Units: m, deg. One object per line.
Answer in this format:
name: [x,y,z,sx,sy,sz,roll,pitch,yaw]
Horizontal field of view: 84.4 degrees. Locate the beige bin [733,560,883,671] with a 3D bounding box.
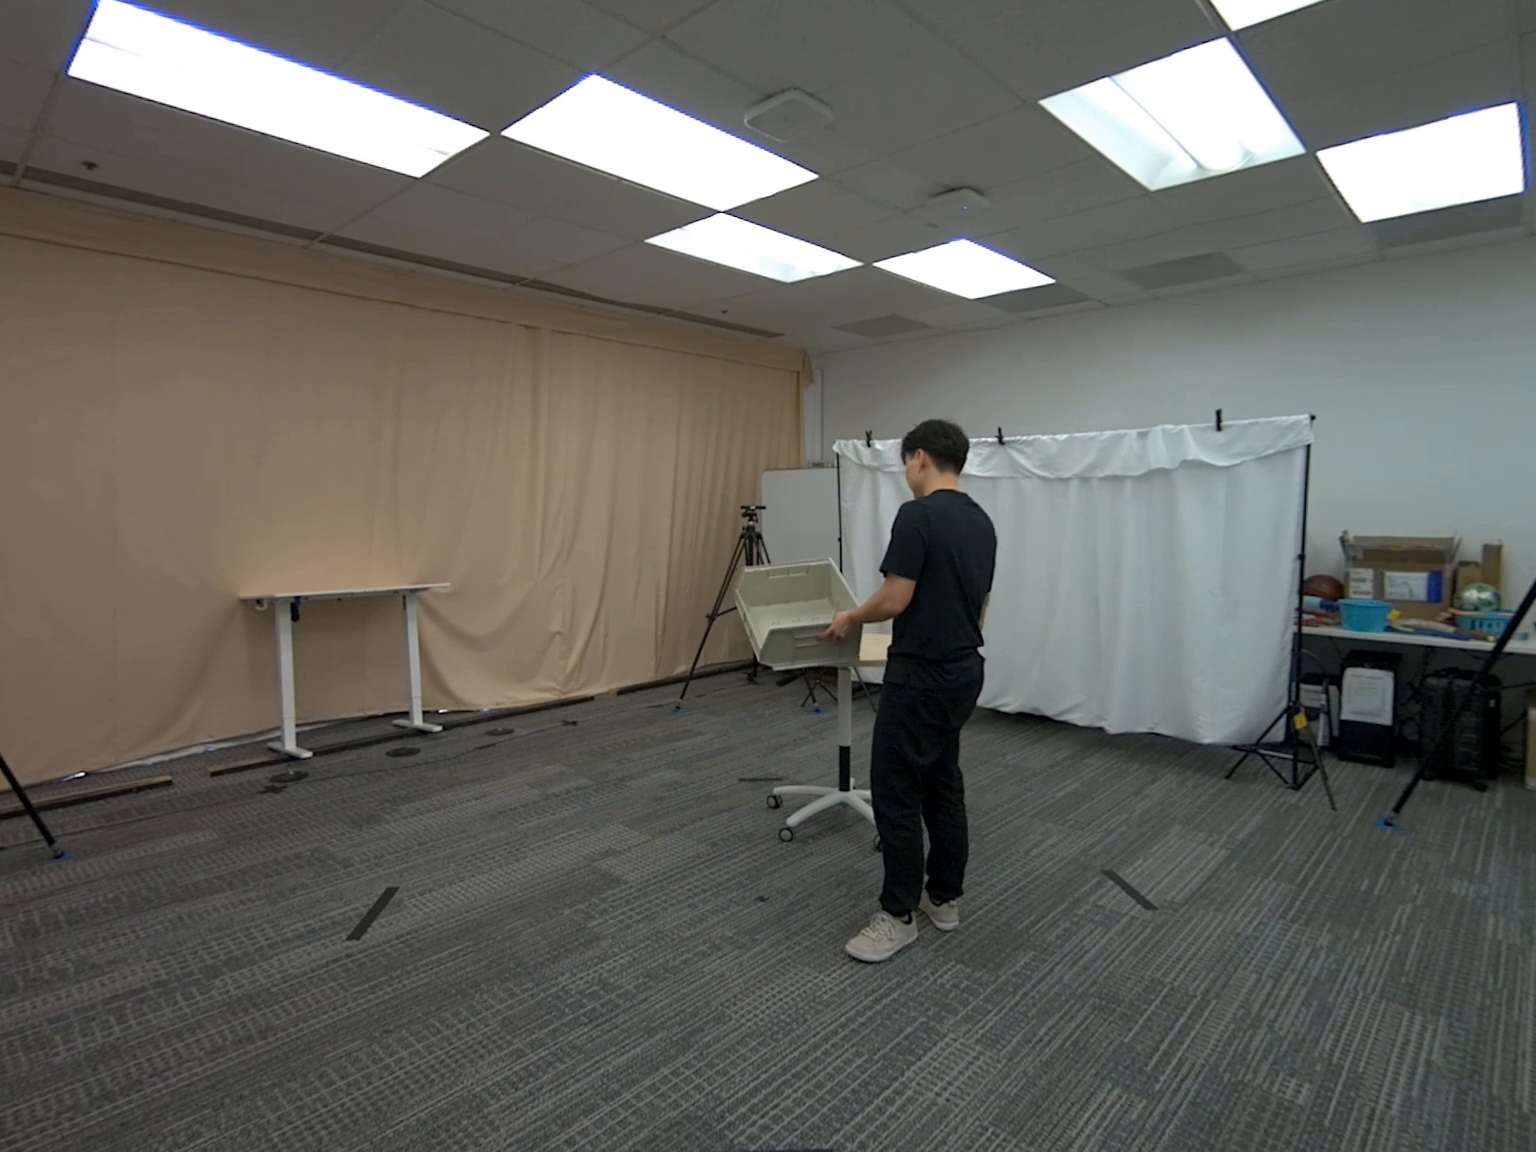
beige bin: [0.114,0.130,3.043,0.373,0.186,0.434,-6,29,-13]
